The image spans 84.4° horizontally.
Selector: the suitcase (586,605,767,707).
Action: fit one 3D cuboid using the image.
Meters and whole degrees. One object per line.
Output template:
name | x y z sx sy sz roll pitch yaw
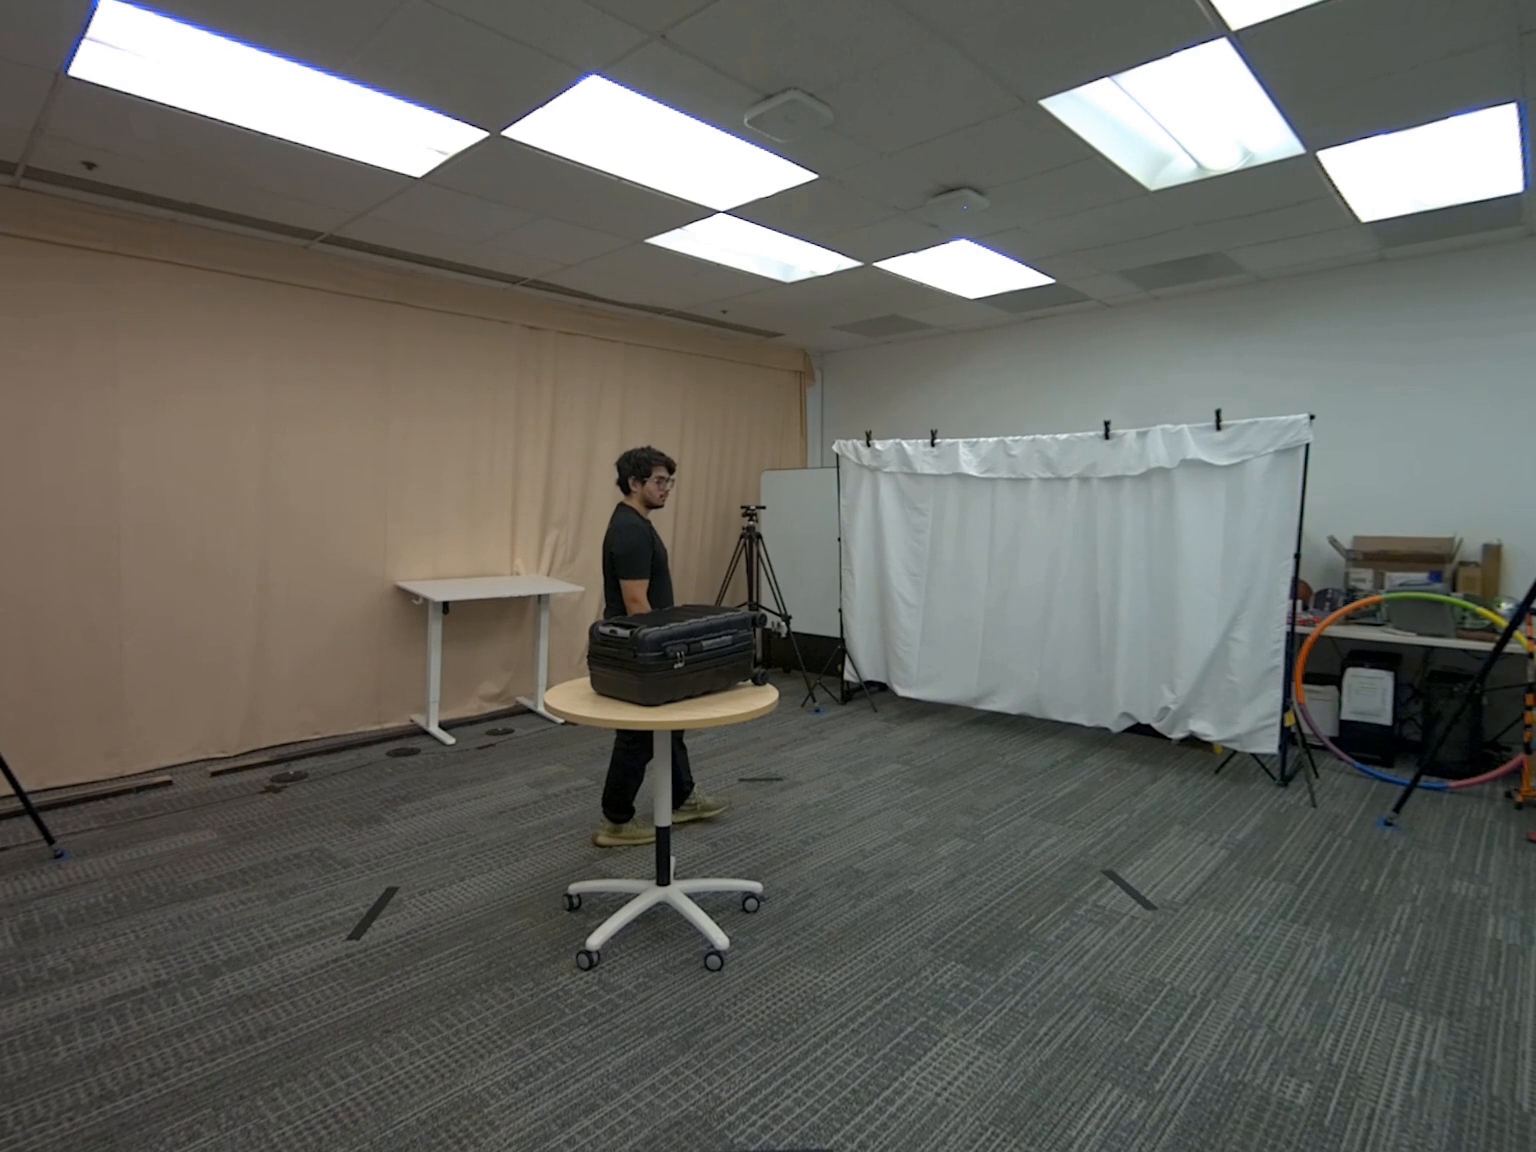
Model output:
suitcase | -0.301 0.254 2.793 0.388 0.247 0.533 4 8 42
